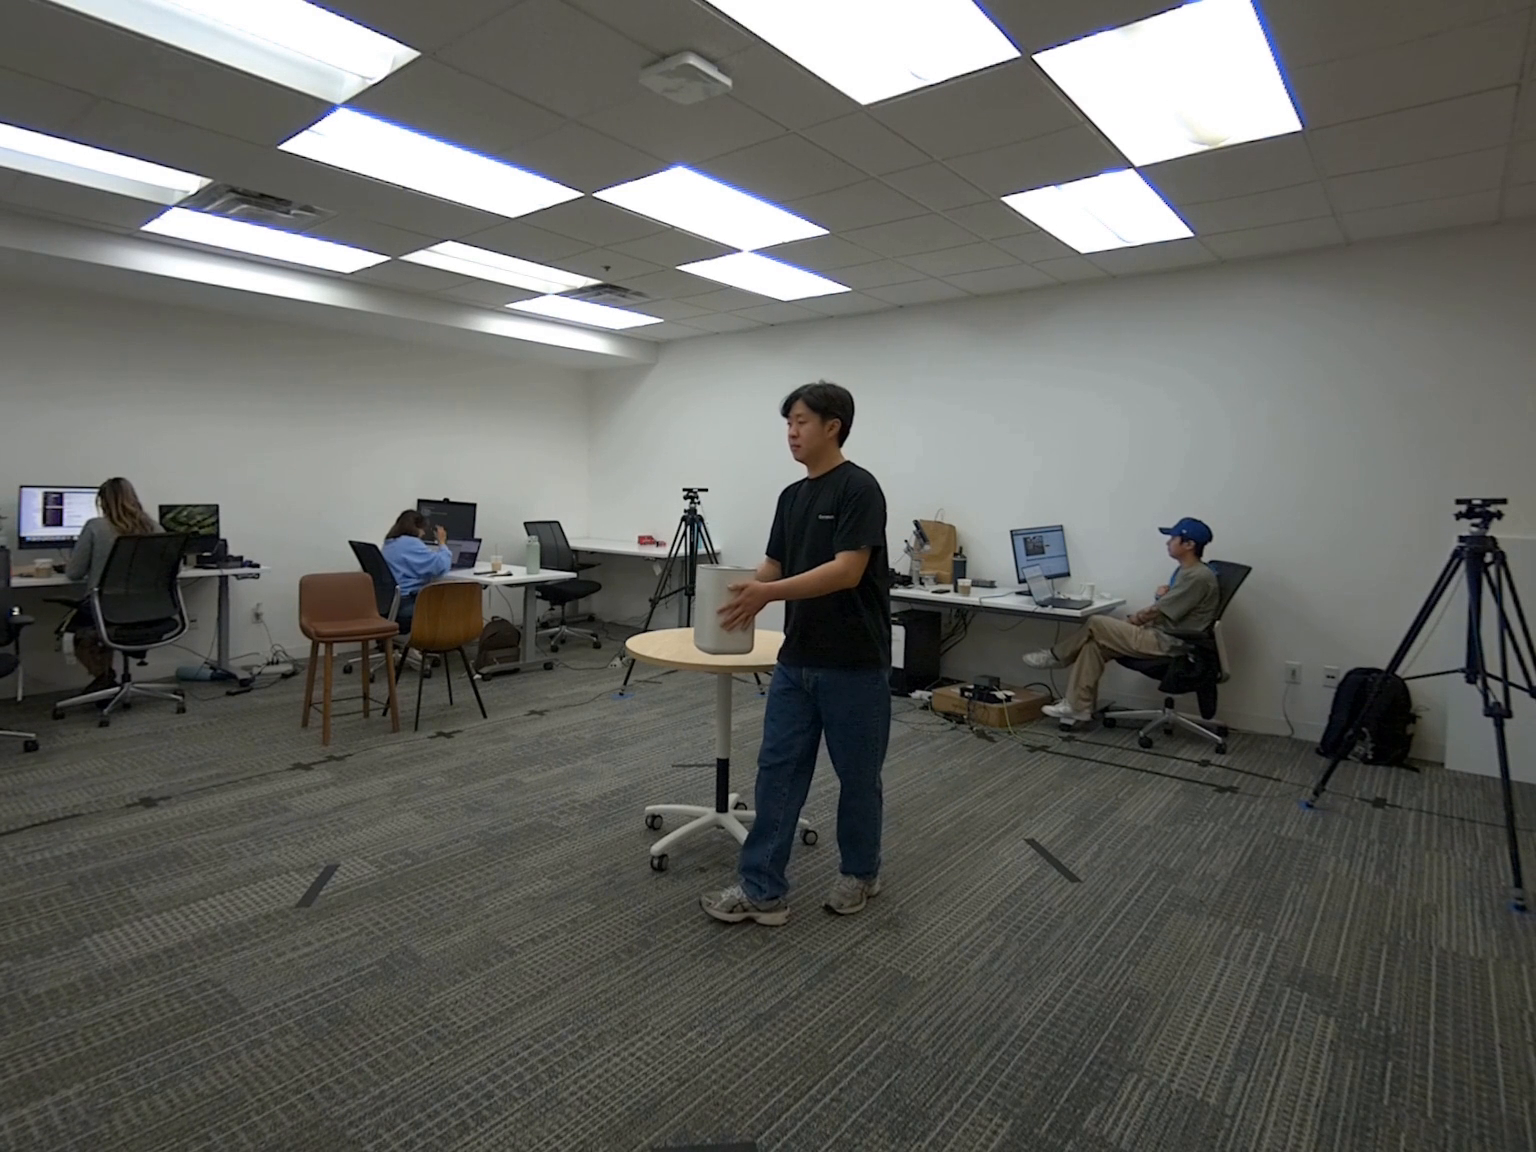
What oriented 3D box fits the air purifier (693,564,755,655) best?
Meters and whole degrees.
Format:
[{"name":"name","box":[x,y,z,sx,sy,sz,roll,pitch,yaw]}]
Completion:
[{"name":"air purifier","box":[-0.148,0.100,2.642,0.168,0.265,0.175,2,2,-20]}]
